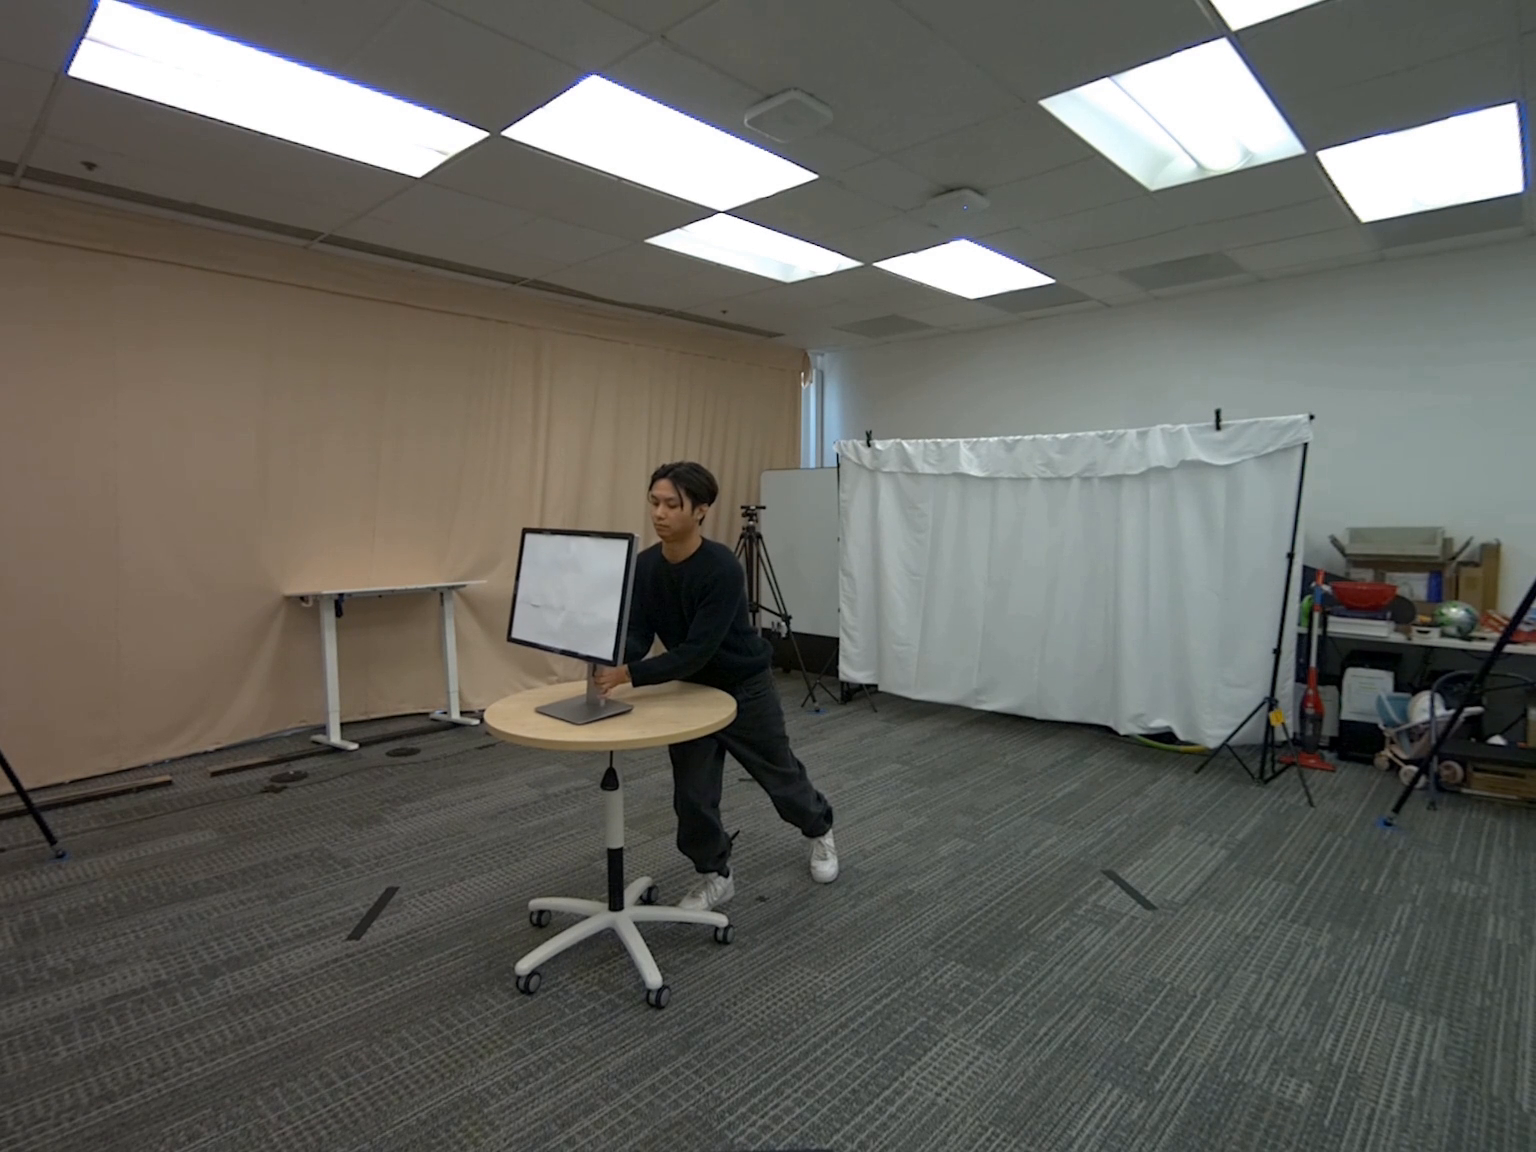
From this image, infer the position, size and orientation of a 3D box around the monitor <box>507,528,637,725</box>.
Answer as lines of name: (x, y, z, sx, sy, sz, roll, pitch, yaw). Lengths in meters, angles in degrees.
monitor: (-0.558, 0.133, 2.491, 0.548, 0.512, 0.170, 6, 14, 43)
